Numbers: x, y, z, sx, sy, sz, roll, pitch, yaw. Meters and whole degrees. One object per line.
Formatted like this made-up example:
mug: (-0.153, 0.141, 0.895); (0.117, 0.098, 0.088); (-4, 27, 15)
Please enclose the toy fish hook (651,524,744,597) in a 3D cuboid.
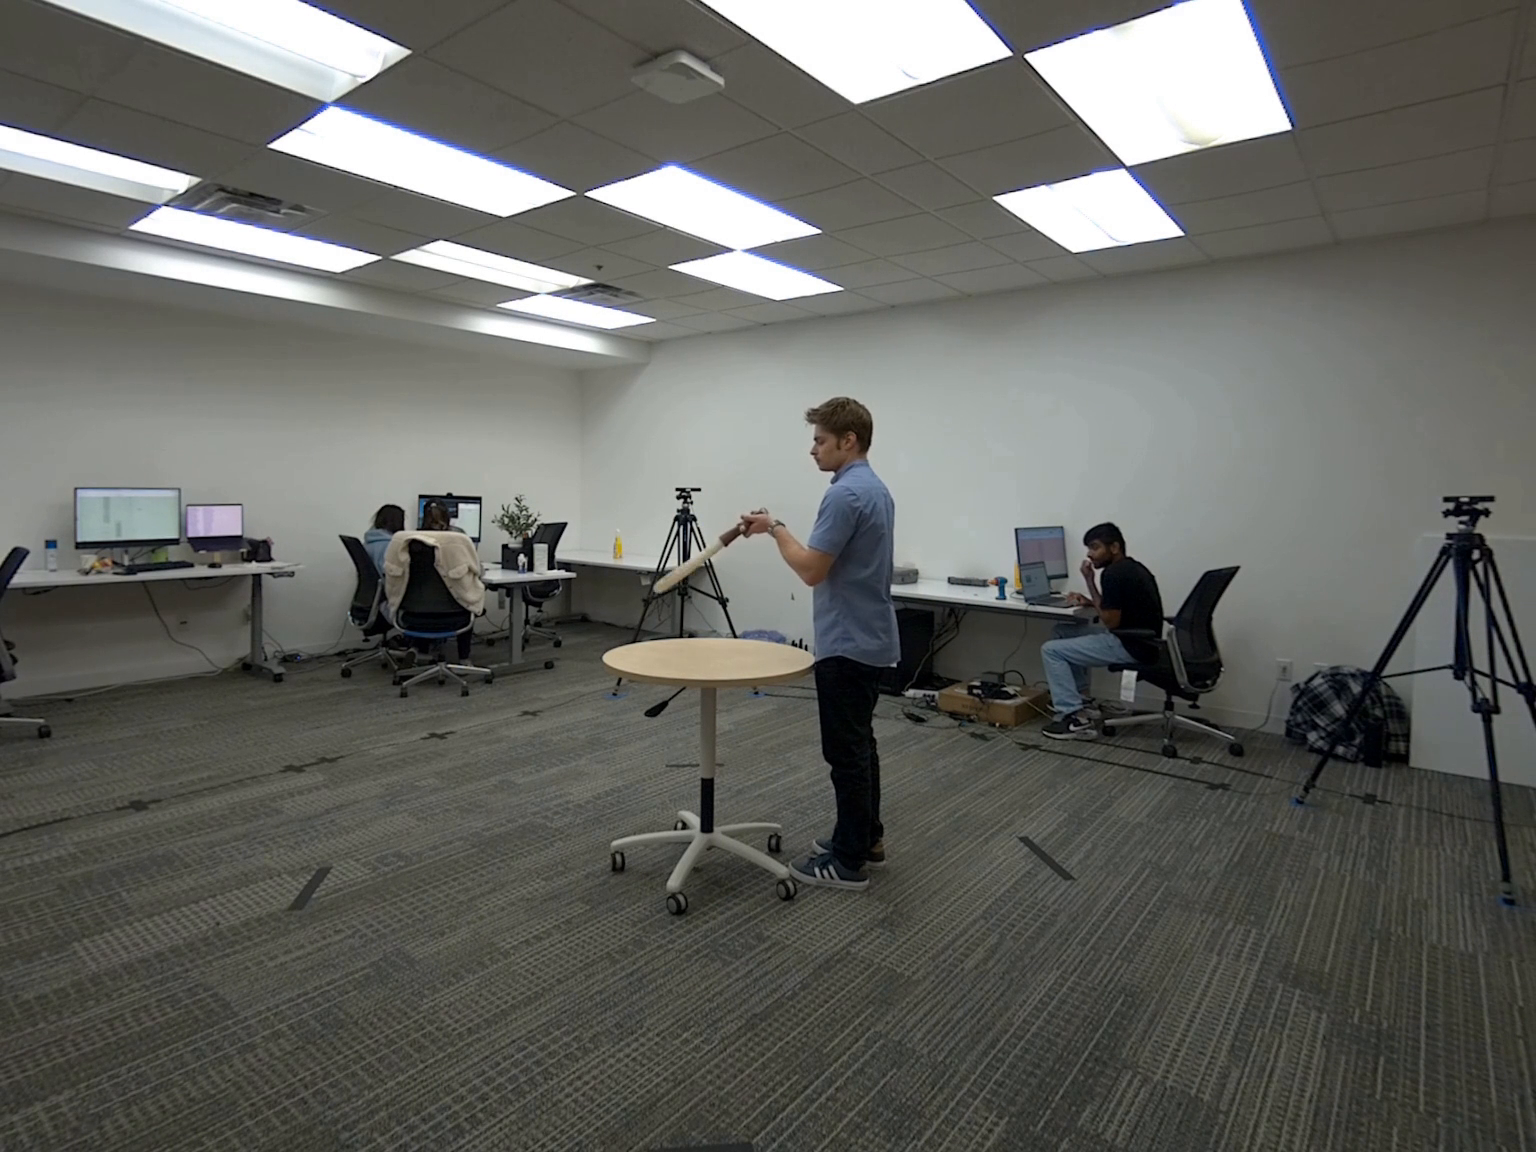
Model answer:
toy fish hook: (-0.229, -0.115, 3.148); (0.507, 0.048, 0.227); (-34, 11, 2)
